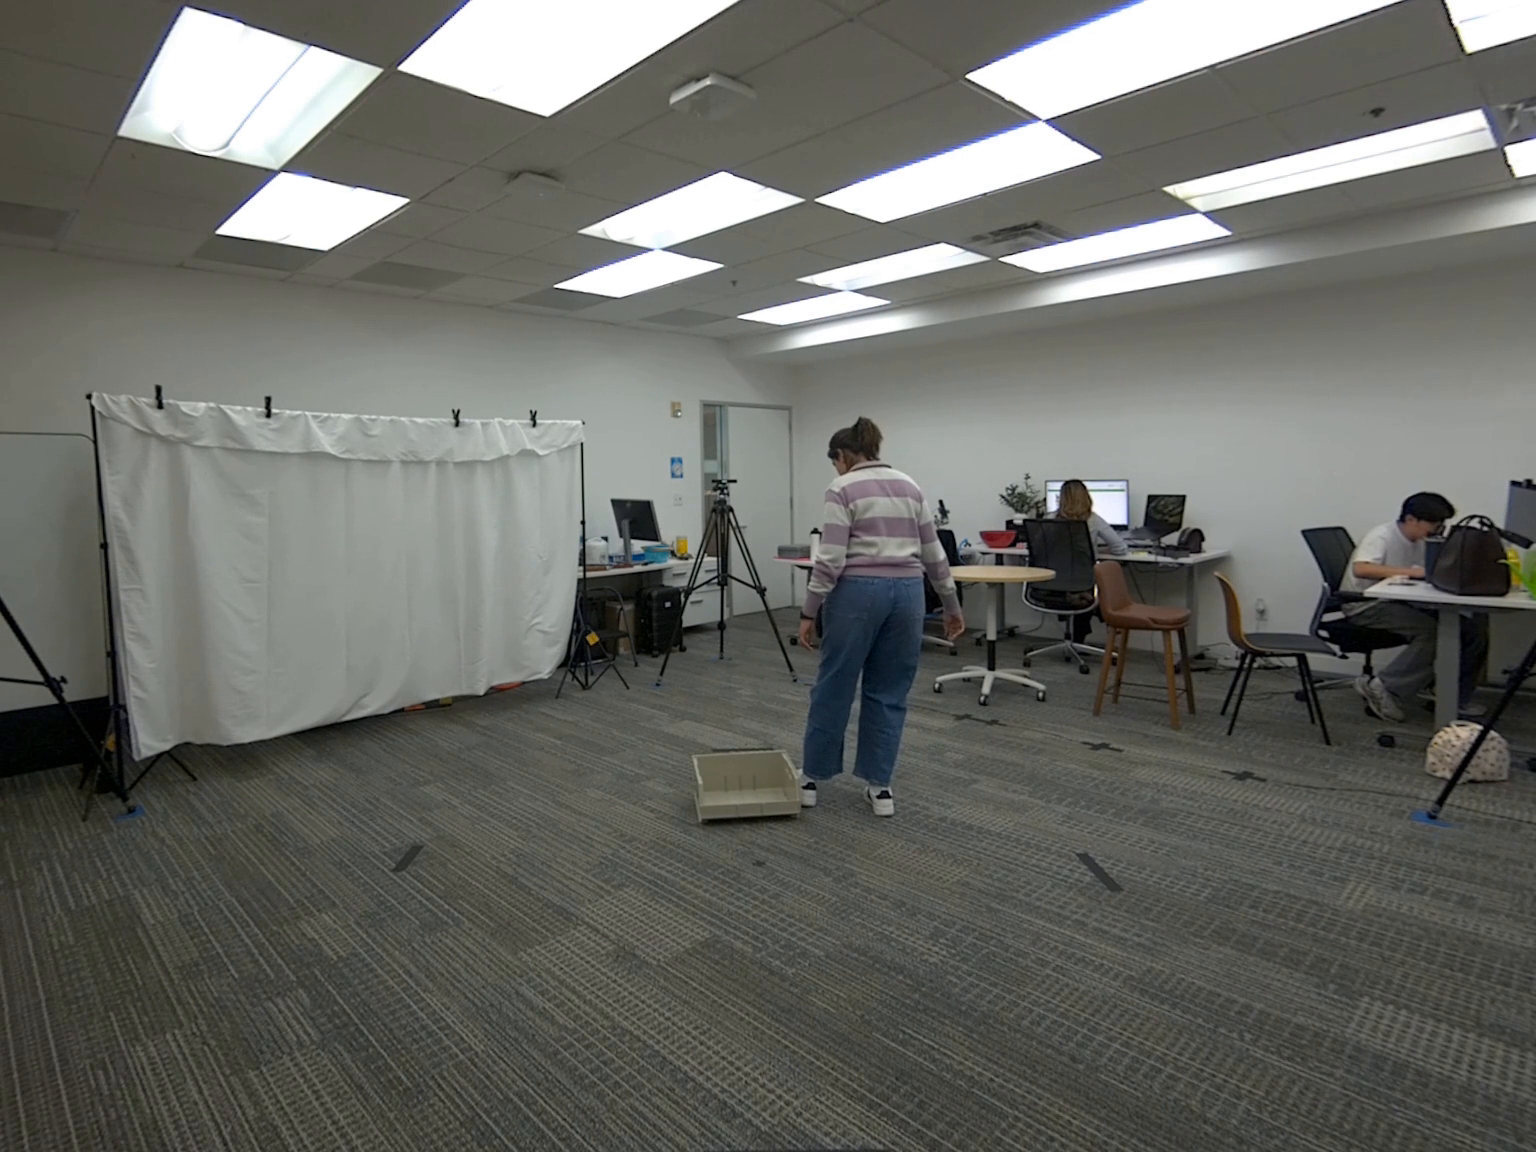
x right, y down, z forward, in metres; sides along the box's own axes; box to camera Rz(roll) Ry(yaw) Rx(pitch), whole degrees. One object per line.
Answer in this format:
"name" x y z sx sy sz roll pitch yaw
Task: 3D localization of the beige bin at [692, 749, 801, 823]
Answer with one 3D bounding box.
"beige bin" -0.096 0.903 3.635 0.419 0.188 0.381 -3 5 -8
